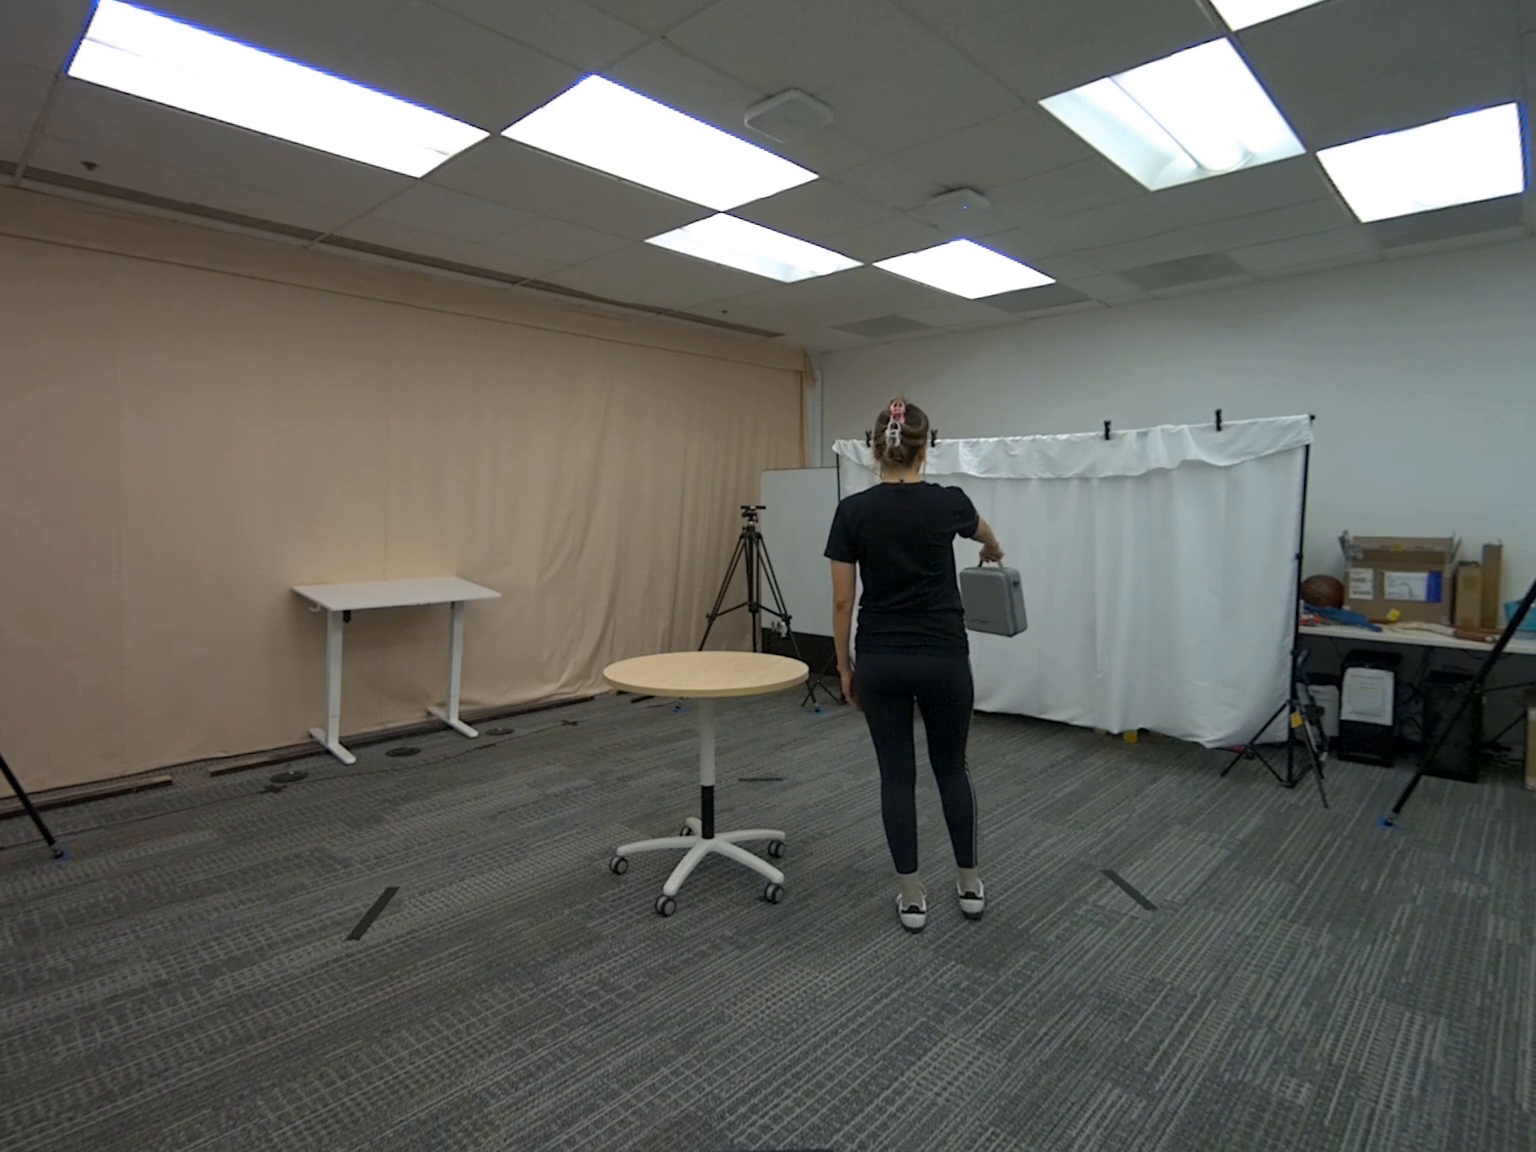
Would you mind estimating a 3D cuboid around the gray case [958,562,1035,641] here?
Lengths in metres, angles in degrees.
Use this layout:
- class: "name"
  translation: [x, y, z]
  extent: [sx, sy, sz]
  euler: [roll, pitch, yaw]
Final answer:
- class: "gray case"
  translation: [0.868, 0.089, 3.244]
  extent: [0.102, 0.259, 0.263]
  euler: [-12, 8, -25]
